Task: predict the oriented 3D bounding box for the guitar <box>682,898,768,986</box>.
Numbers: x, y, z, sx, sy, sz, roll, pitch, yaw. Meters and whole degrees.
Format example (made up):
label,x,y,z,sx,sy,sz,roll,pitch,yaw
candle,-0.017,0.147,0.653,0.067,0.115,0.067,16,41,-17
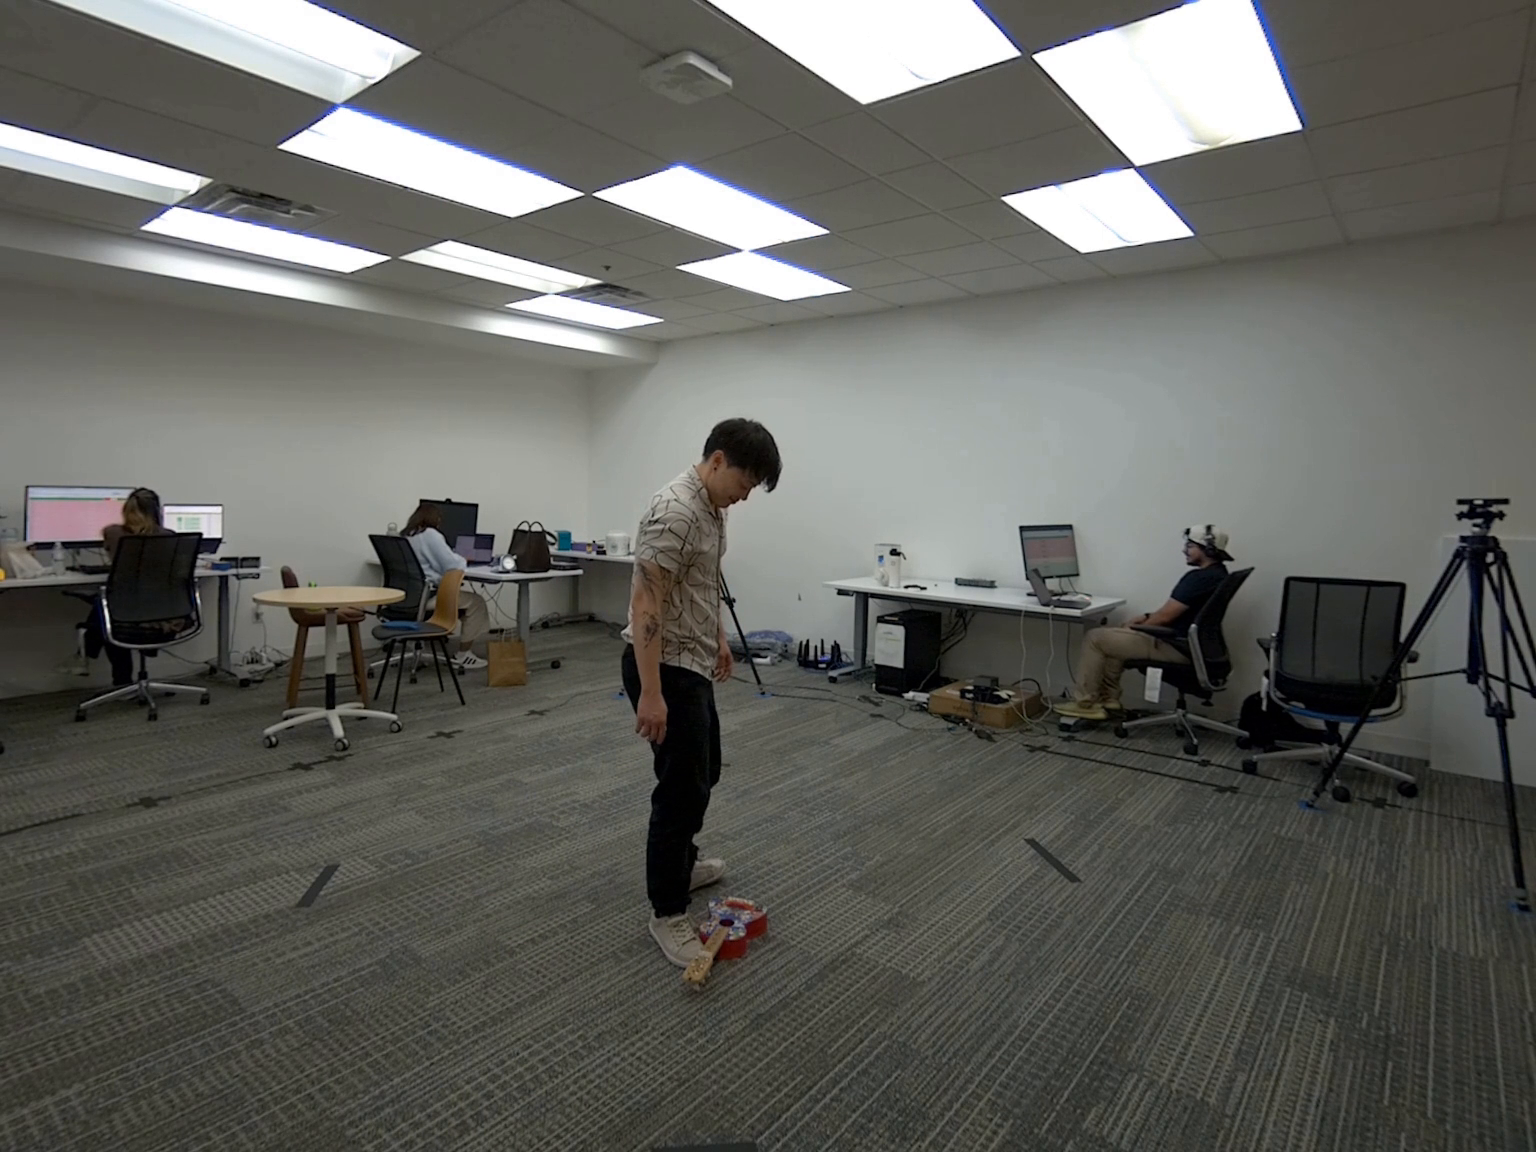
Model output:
label,x,y,z,sx,sy,sz,roll,pitch,yaw
guitar,-0.183,1.088,2.547,0.198,0.070,0.486,5,6,25
